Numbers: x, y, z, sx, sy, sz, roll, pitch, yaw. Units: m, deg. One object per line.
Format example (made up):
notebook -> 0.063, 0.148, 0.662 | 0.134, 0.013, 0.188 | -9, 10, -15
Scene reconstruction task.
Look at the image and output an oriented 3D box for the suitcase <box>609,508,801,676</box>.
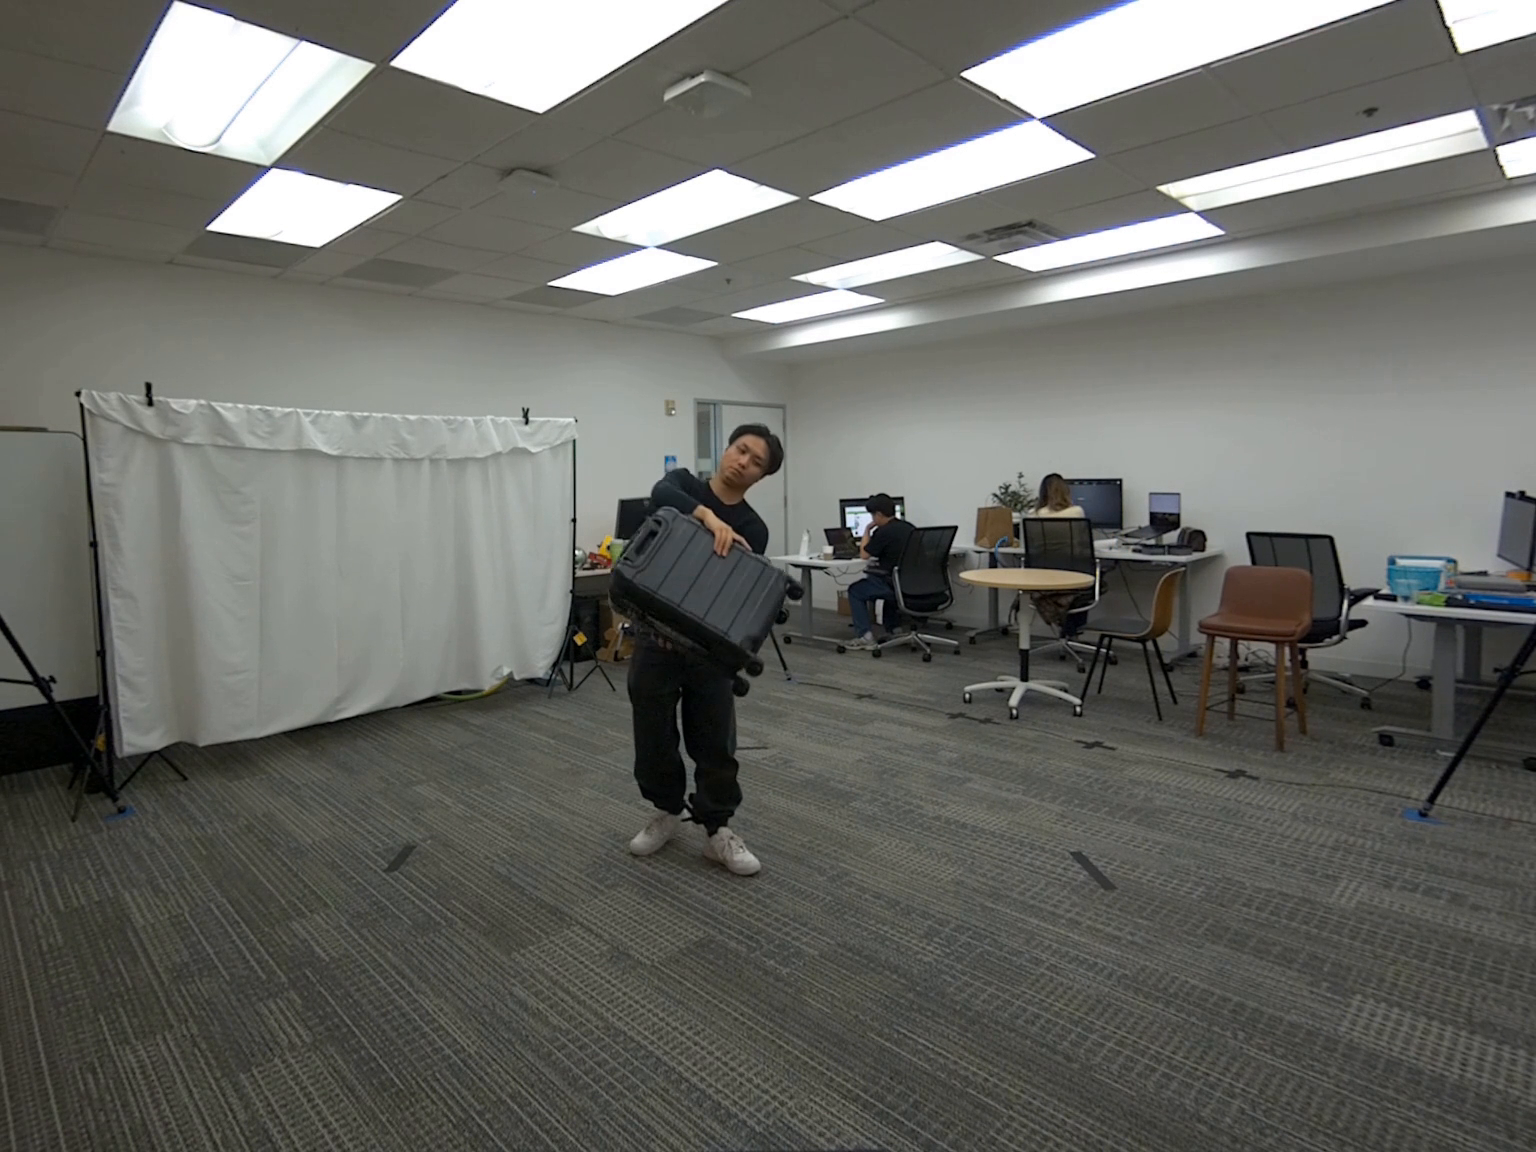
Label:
suitcase -> -0.214, 0.054, 2.674 | 0.555, 0.377, 0.245 | 30, -30, 6
